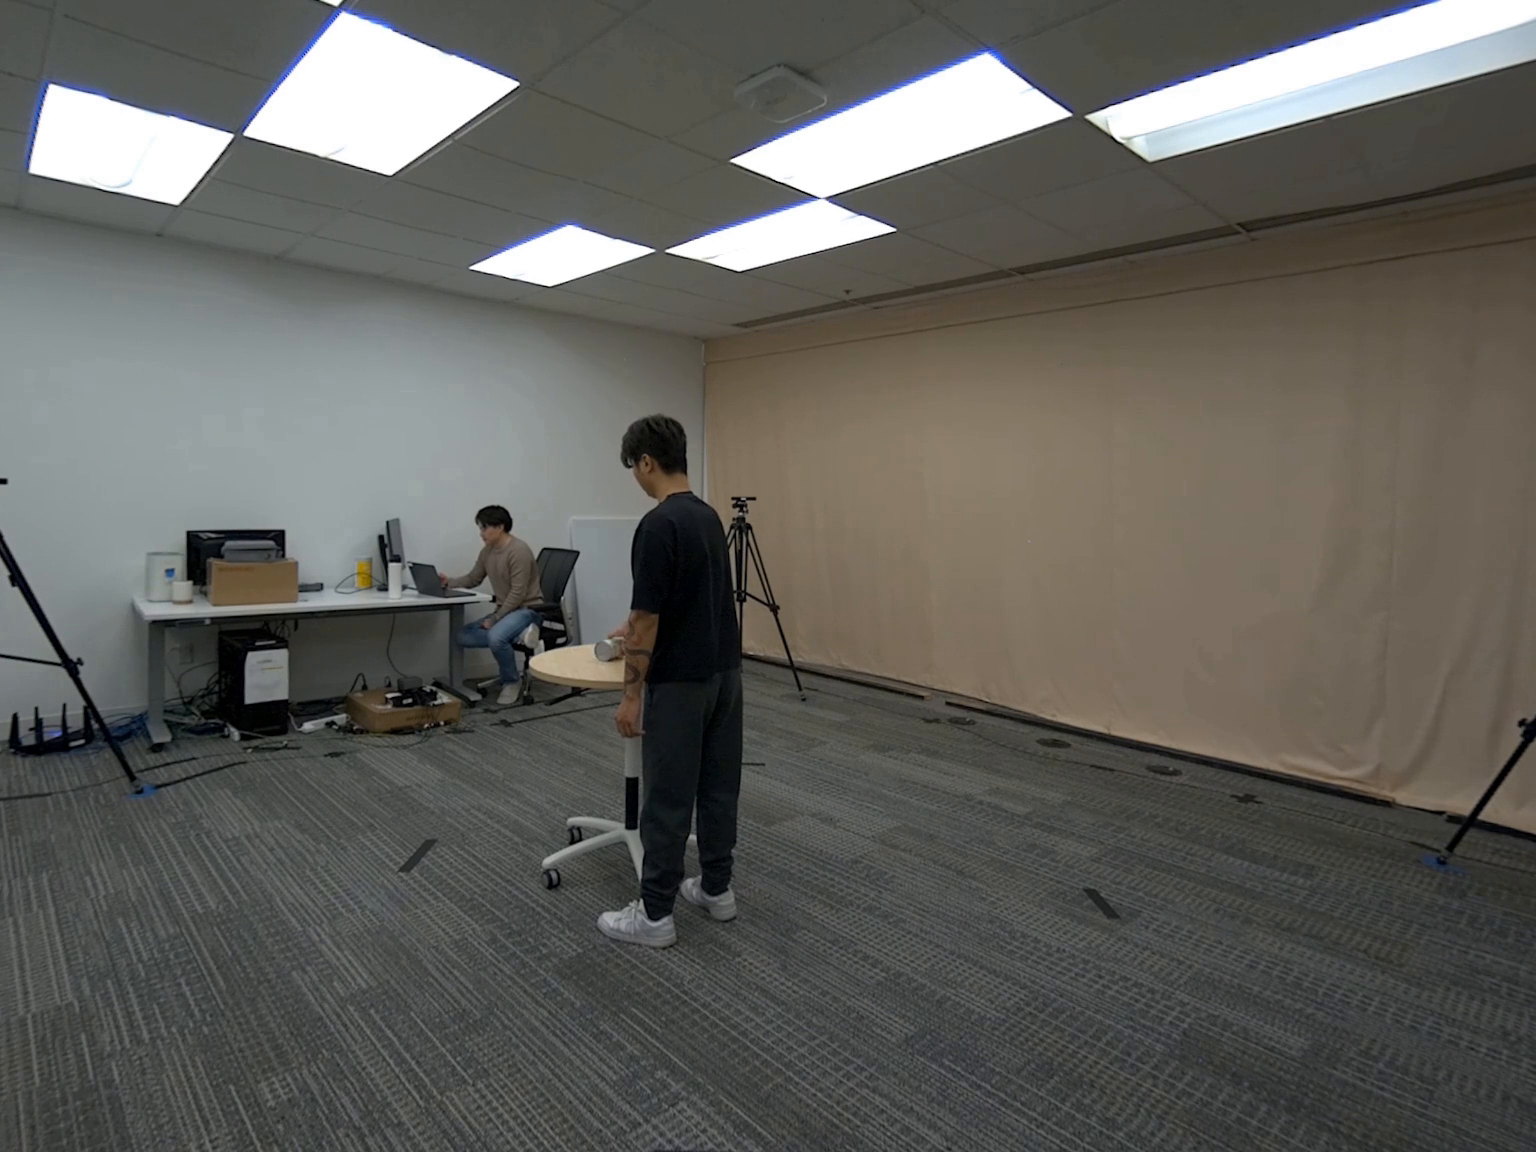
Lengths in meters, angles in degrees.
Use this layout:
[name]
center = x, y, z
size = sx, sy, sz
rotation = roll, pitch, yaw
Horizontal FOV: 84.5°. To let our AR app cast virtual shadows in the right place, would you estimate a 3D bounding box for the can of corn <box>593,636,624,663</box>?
[can of corn]
center = -0.597, 0.271, 3.143
size = 0.075, 0.074, 0.109
rotation = 3, 4, 19
